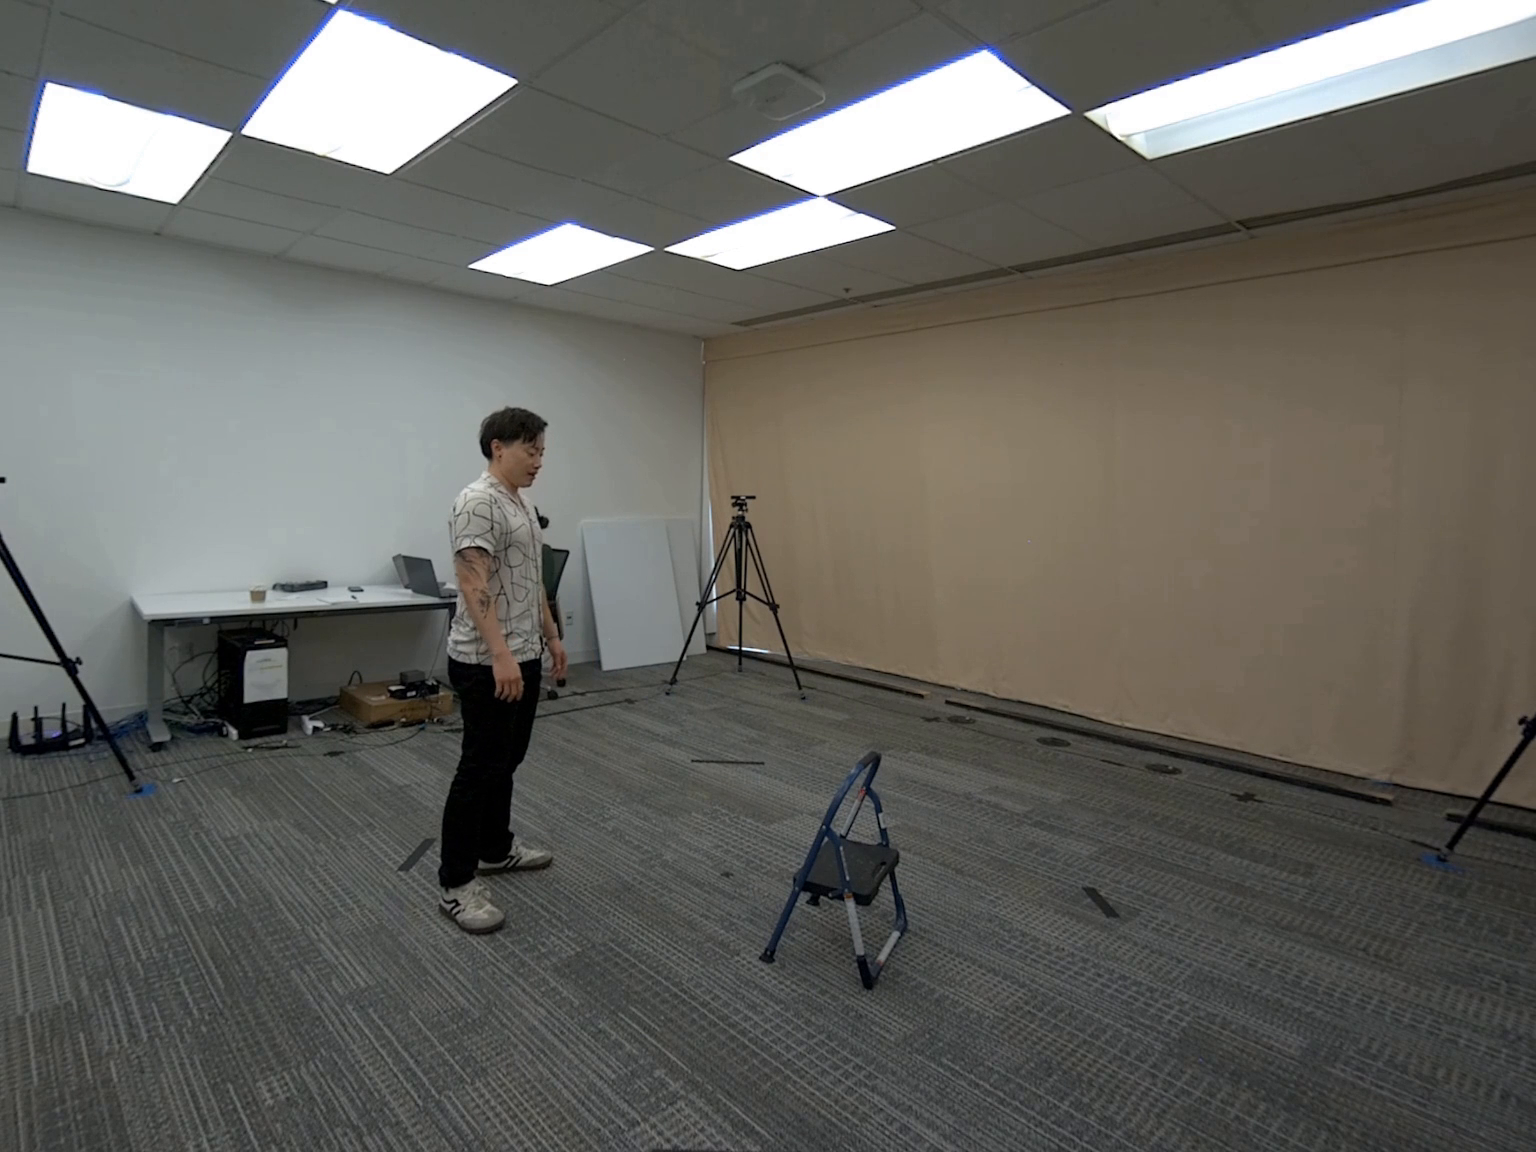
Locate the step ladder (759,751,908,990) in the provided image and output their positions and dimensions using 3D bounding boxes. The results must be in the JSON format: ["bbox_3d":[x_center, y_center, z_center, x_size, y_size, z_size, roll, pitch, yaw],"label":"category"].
[{"bbox_3d":[0.222,0.850,2.621,0.356,0.604,0.424,3,5,24],"label":"step ladder"}]
